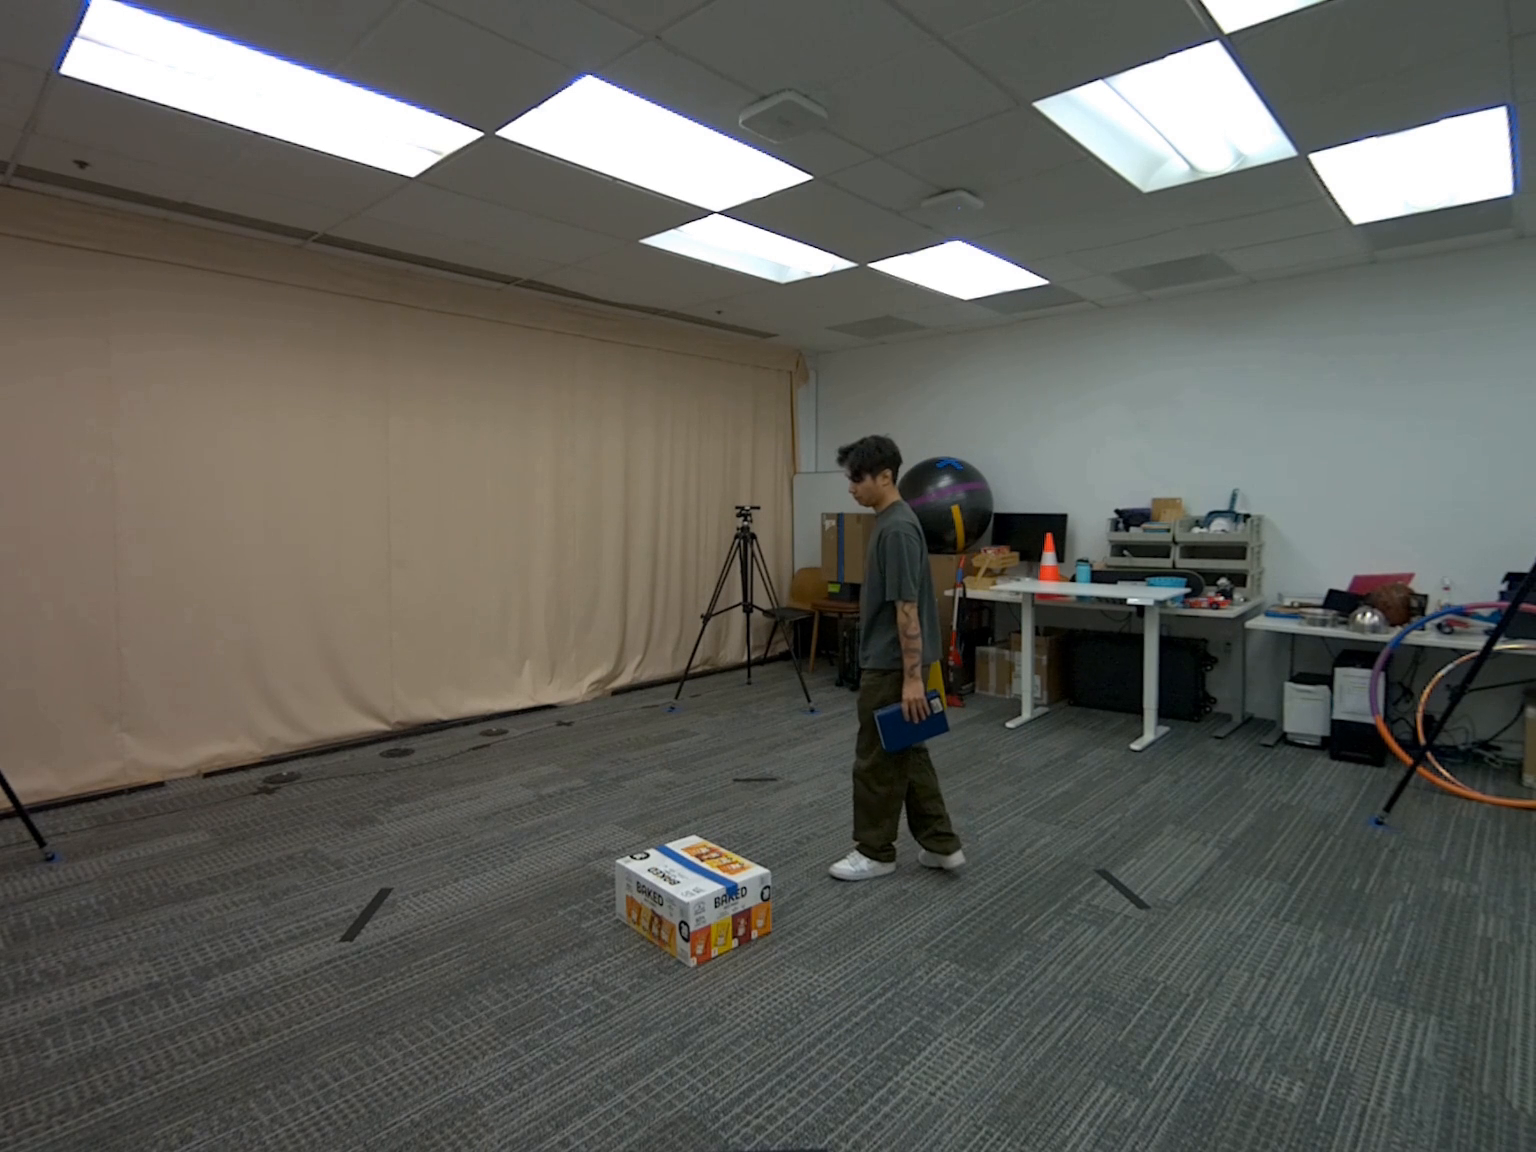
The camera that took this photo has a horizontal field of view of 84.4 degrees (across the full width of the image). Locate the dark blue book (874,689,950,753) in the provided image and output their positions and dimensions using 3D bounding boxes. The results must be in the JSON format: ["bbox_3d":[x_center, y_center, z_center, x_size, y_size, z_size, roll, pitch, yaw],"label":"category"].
[{"bbox_3d":[0.505,0.512,2.997,0.244,0.161,0.046,-14,17,-5],"label":"dark blue book"}]
